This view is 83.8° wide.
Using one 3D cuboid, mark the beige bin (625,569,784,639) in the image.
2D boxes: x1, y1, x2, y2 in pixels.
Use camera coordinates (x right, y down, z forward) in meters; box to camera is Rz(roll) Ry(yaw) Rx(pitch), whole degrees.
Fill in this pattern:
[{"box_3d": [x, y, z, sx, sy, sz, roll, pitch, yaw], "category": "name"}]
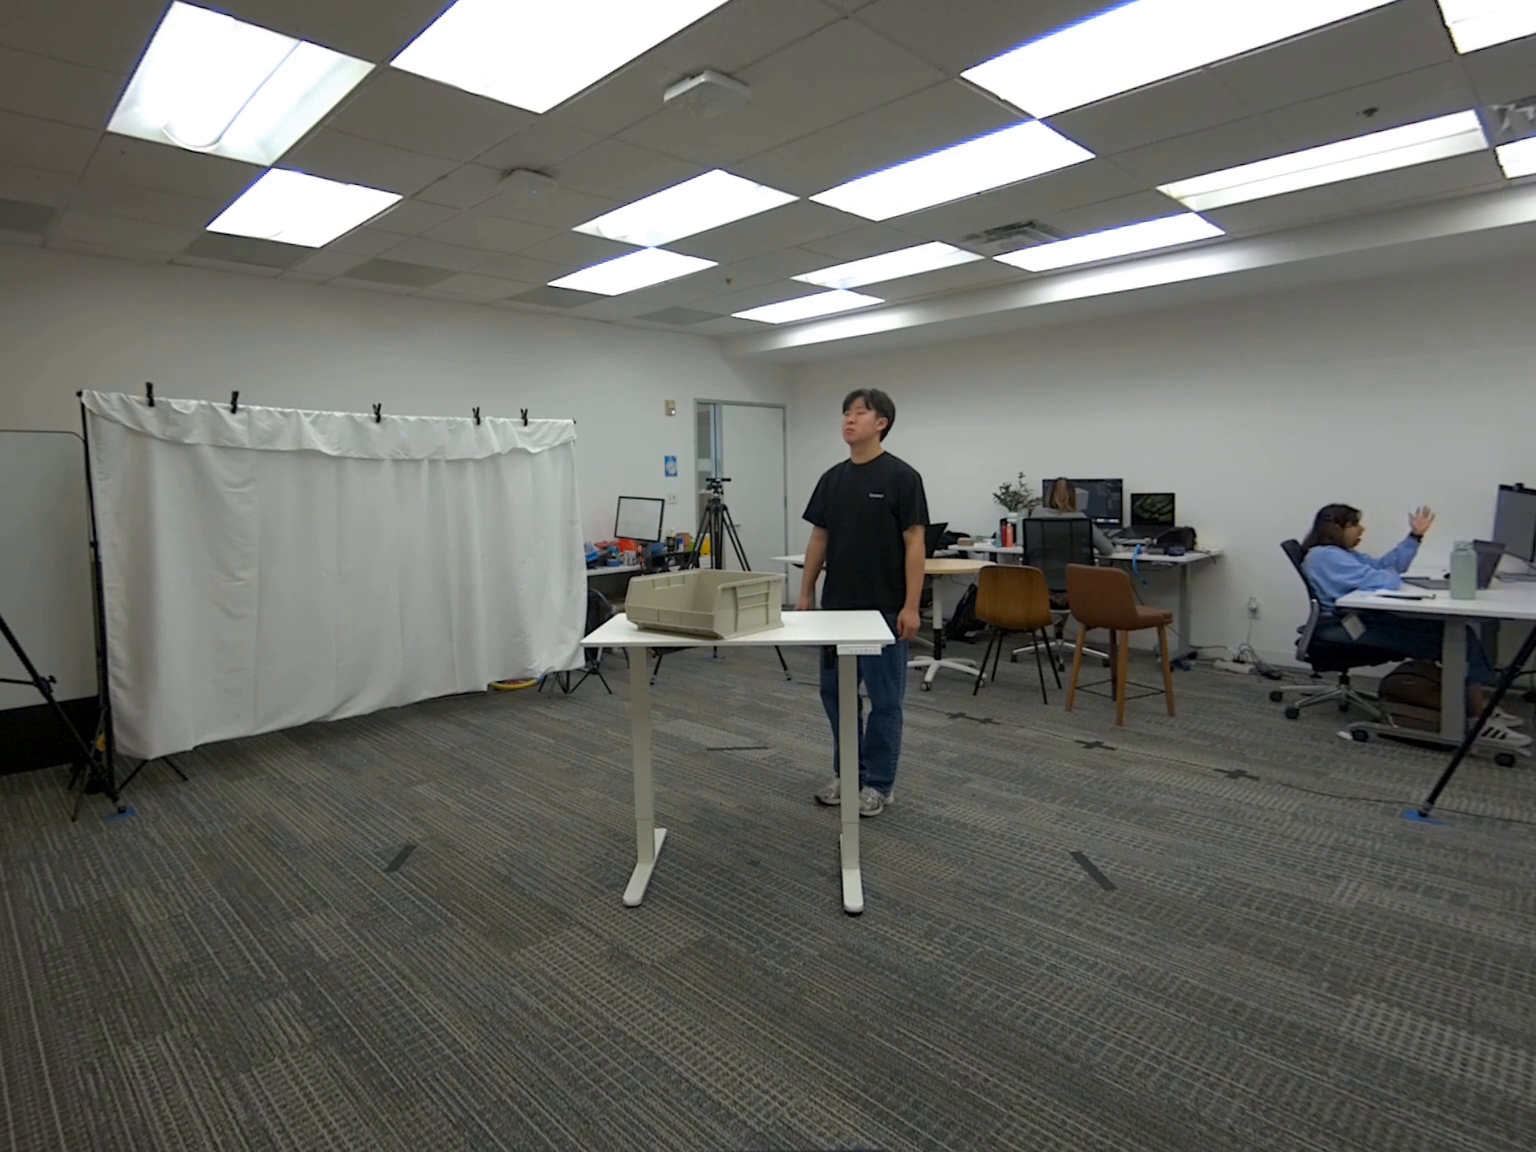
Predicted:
[{"box_3d": [-0.216, 0.094, 2.942, 0.435, 0.188, 0.367, 4, 6, 40], "category": "beige bin"}]
